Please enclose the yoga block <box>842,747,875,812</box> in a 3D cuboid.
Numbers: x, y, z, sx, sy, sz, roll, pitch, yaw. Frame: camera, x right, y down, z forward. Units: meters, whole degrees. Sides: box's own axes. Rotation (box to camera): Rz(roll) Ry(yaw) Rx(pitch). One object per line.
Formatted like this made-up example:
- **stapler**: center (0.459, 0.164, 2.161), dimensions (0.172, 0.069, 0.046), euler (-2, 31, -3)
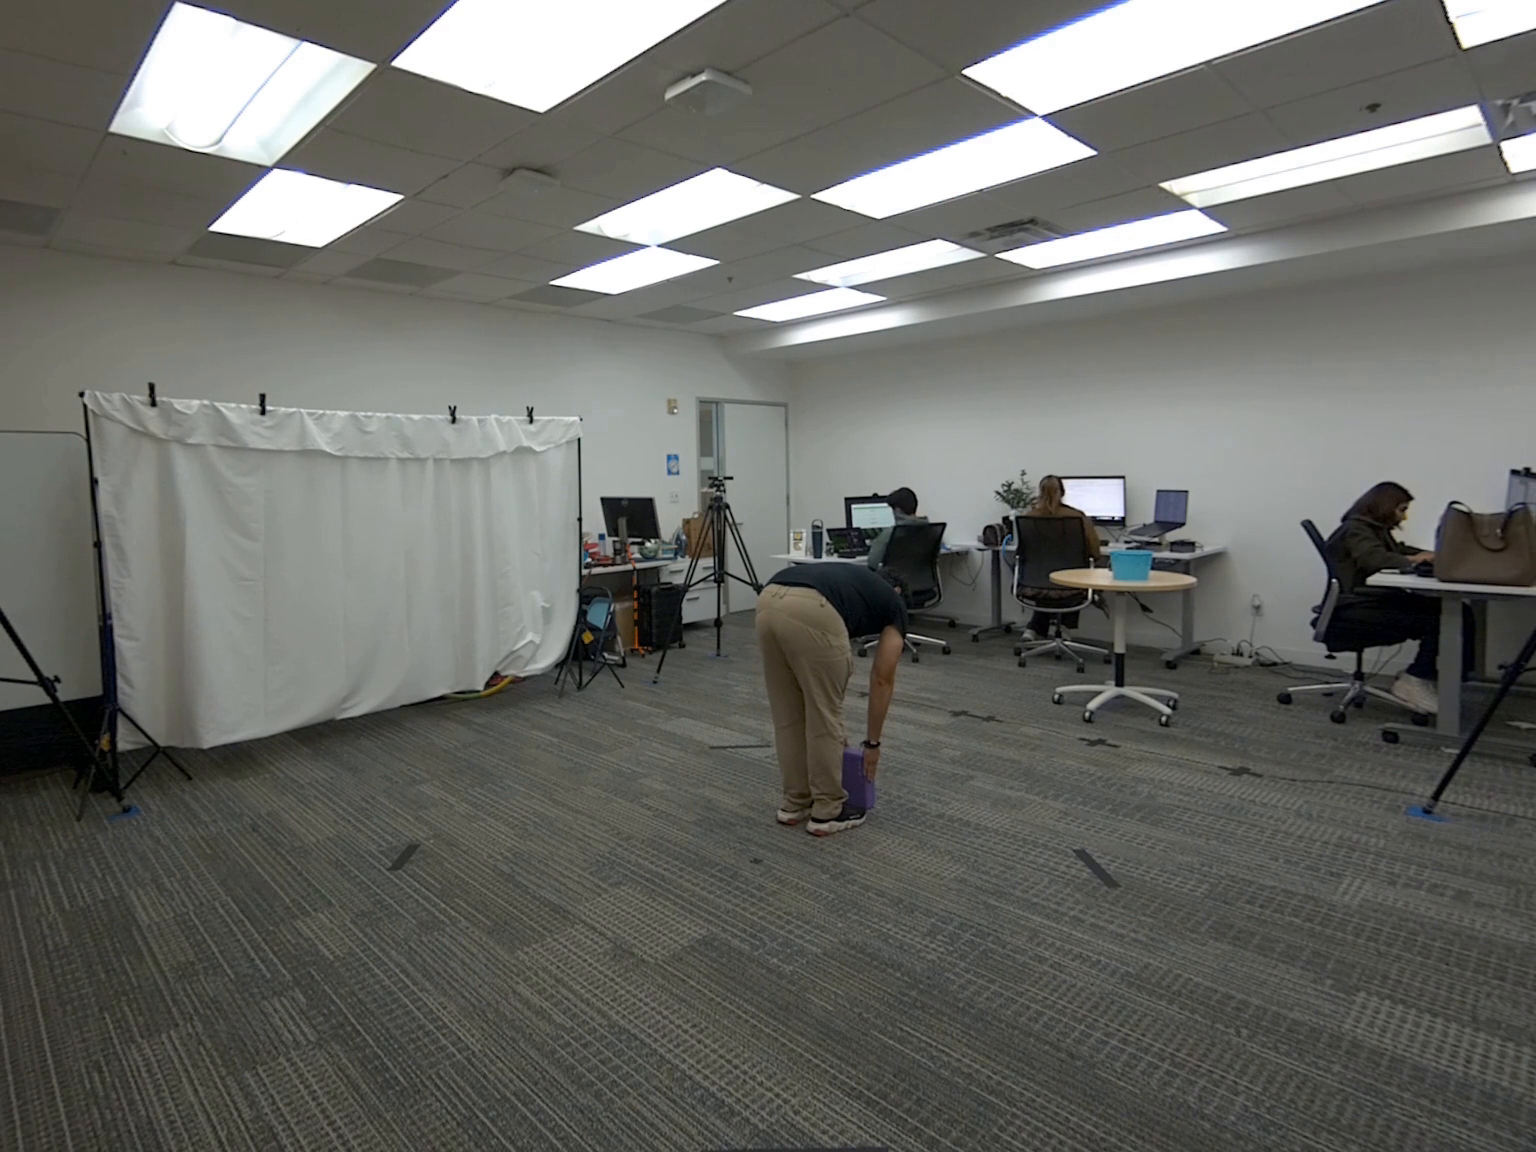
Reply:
- **yoga block**: center (0.376, 0.858, 3.623), dimensions (0.074, 0.229, 0.153), euler (-2, 3, -42)
